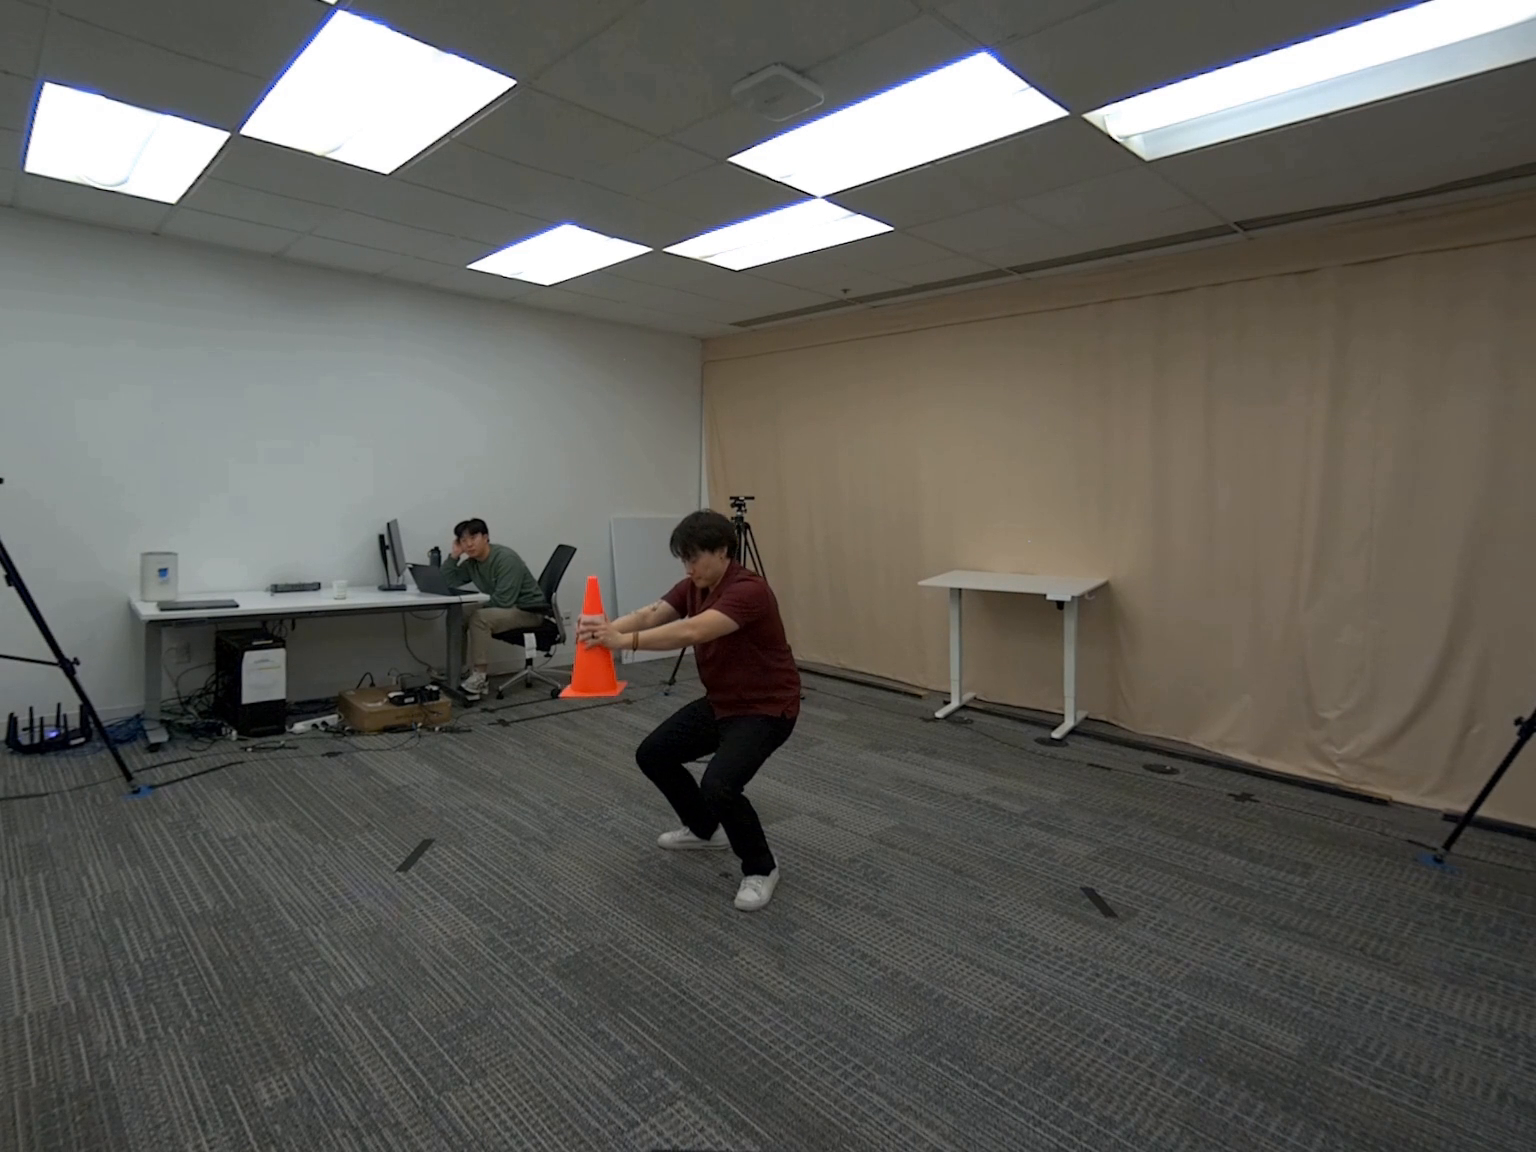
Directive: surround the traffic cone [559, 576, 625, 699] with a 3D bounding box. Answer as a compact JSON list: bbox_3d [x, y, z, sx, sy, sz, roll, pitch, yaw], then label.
[{"bbox_3d":[-0.592,0.200,2.821,0.206,0.382,0.203,1,5,3],"label":"traffic cone"}]
